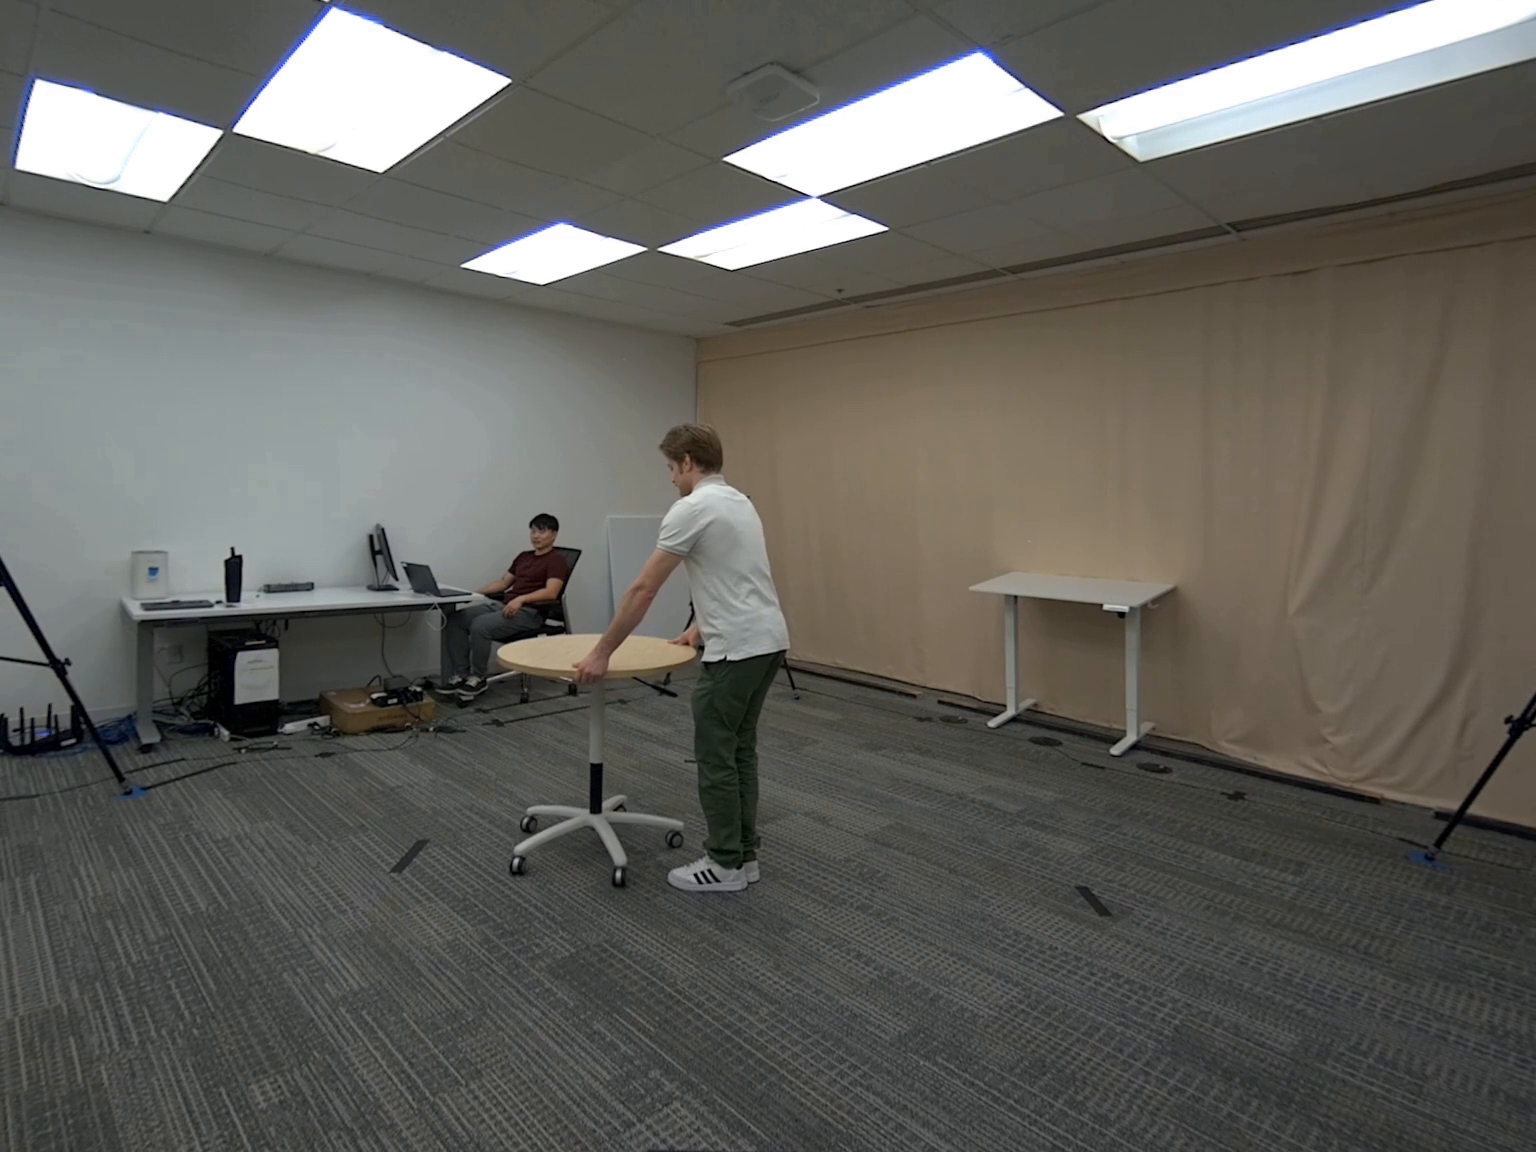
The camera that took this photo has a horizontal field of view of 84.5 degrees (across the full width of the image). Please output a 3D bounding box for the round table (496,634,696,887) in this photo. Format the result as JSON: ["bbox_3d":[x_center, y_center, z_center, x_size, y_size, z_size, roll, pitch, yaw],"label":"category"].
[{"bbox_3d":[-0.678,0.685,3.307,0.763,0.792,0.766,2,4,-1],"label":"round table"}]
